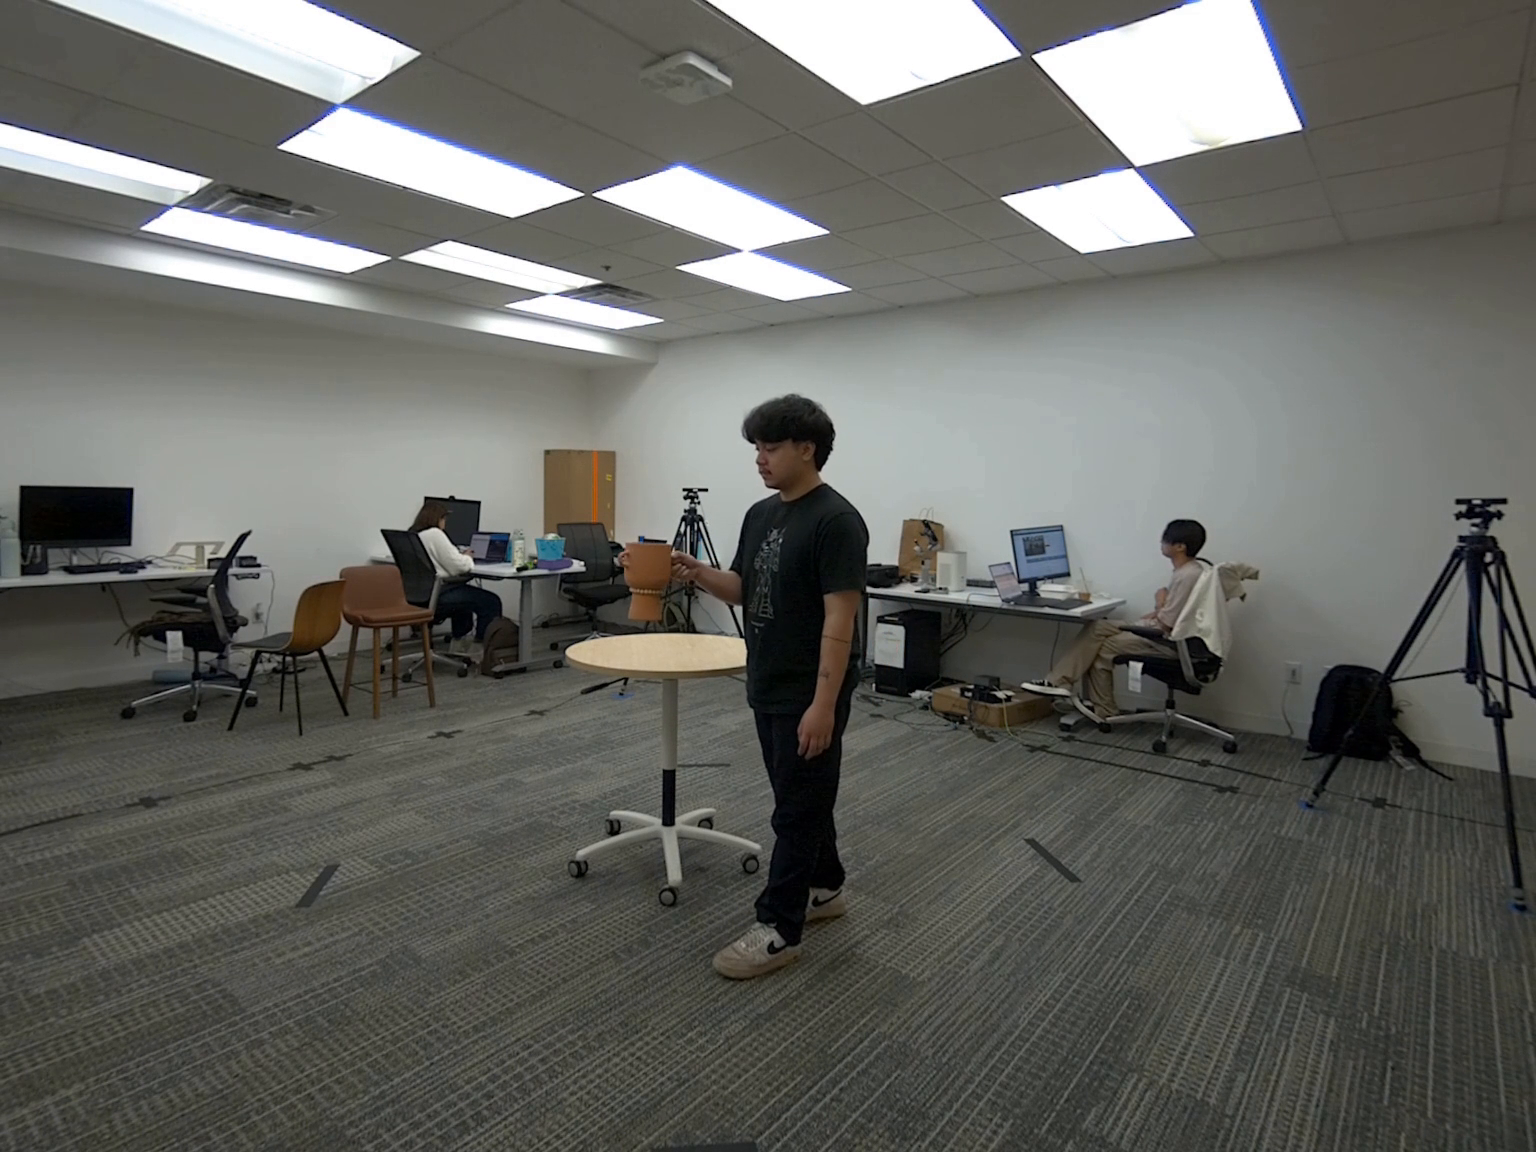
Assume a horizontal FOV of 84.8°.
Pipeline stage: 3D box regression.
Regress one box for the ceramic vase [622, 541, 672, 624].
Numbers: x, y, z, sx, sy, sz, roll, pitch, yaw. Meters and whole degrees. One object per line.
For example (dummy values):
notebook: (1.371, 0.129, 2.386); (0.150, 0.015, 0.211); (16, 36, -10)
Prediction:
ceramic vase: (-0.357, 0.010, 2.475); (0.159, 0.219, 0.135); (3, 2, 1)
